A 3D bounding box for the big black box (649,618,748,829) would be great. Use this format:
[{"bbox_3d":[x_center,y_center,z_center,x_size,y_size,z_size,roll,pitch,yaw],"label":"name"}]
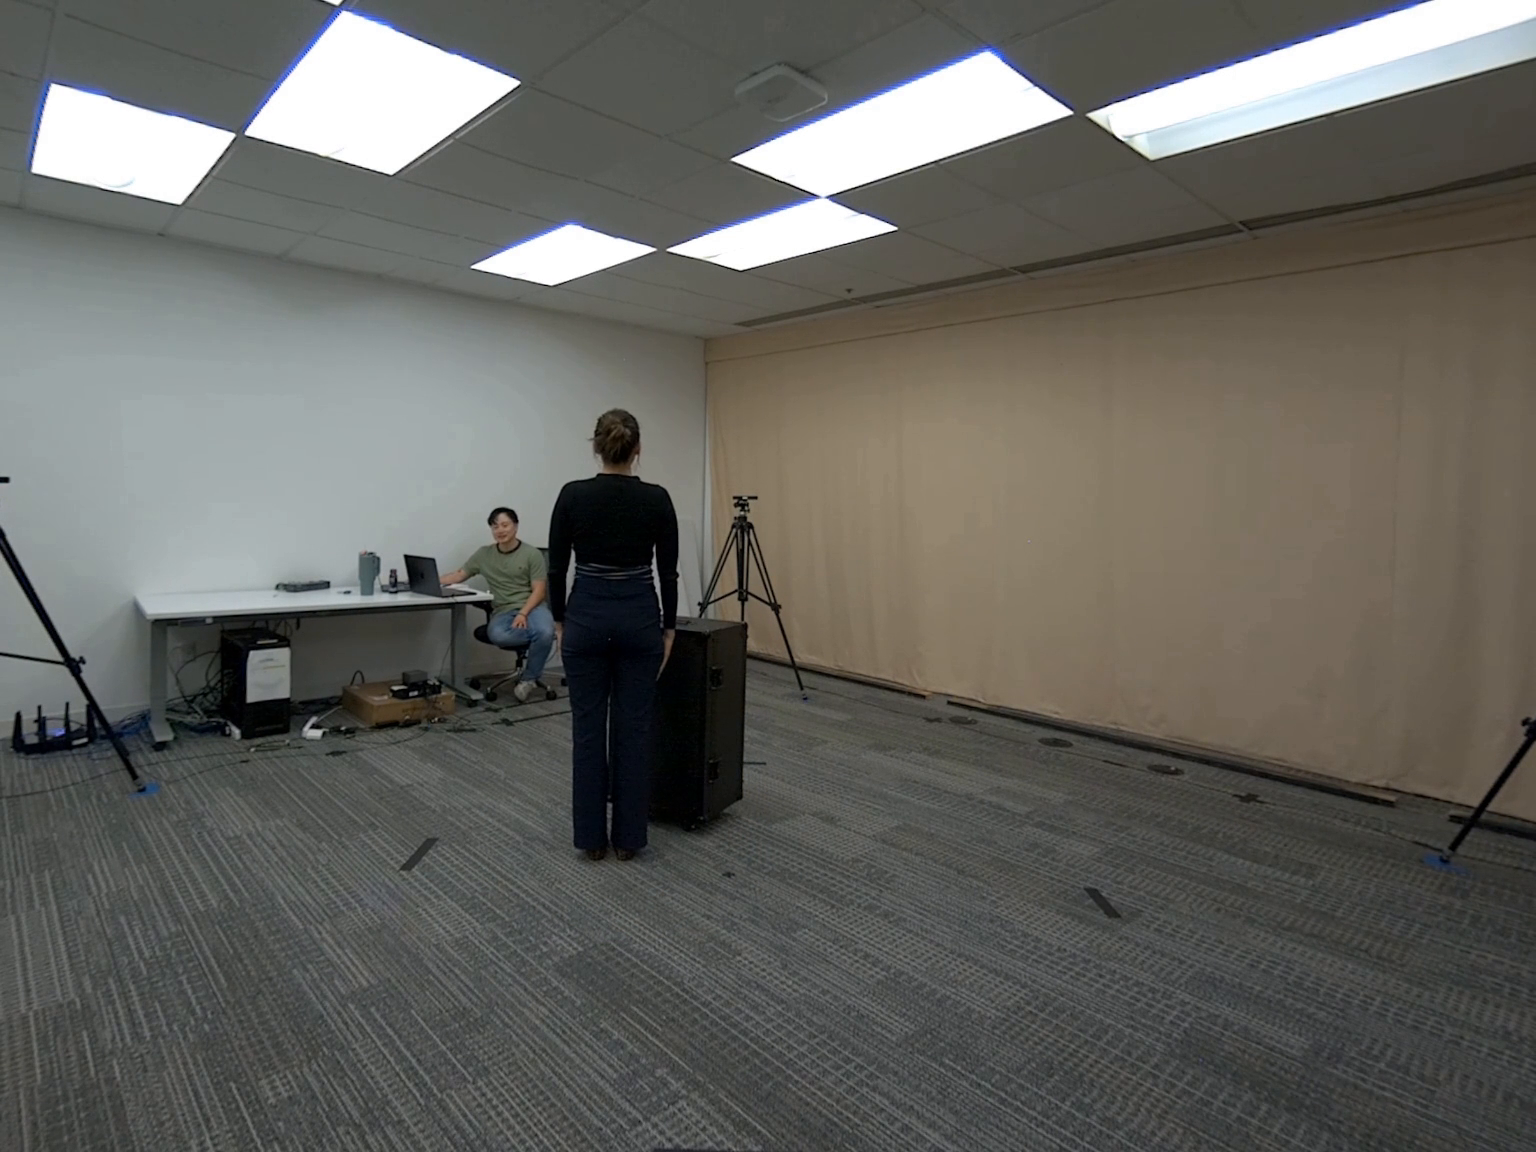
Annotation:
[{"bbox_3d":[-0.395,0.623,3.673,0.532,0.860,0.388,3,2,28],"label":"big black box"}]
